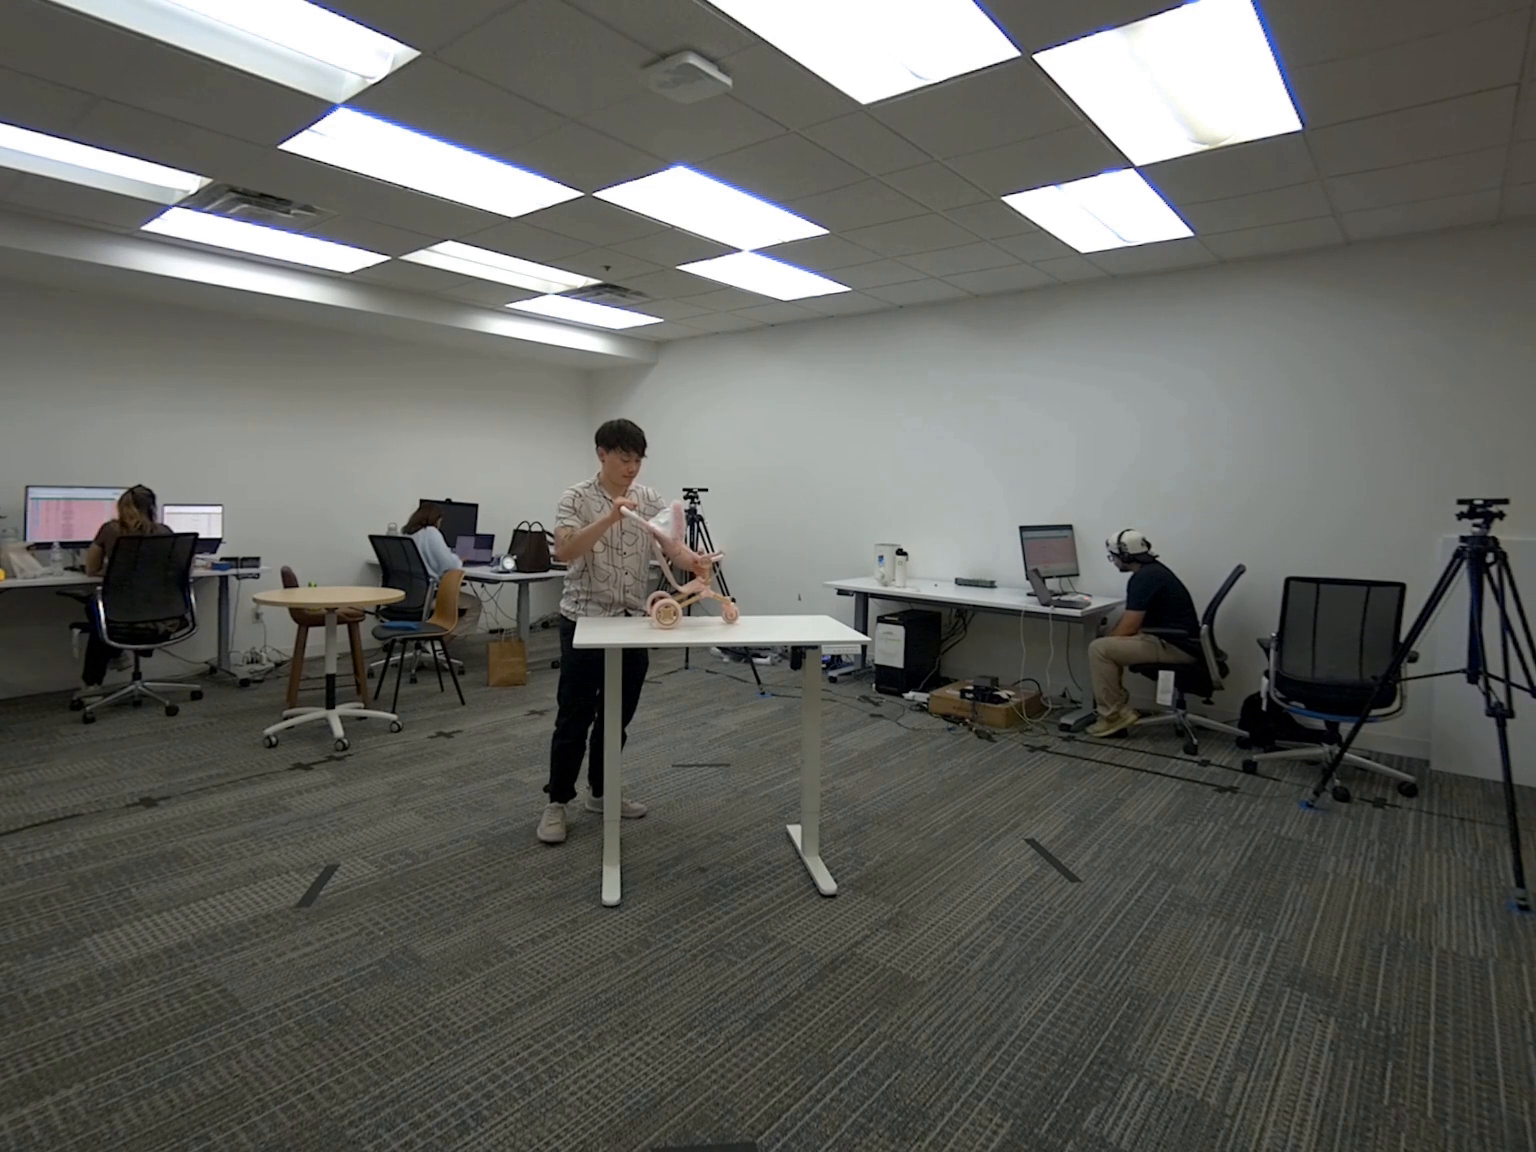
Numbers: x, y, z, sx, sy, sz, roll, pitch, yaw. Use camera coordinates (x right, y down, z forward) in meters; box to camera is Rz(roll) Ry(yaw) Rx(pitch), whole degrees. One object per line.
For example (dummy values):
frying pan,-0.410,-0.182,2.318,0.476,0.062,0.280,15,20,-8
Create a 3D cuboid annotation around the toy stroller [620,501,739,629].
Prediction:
toy stroller,-0.336,-0.044,3.191,0.340,0.532,0.284,-14,4,-6
